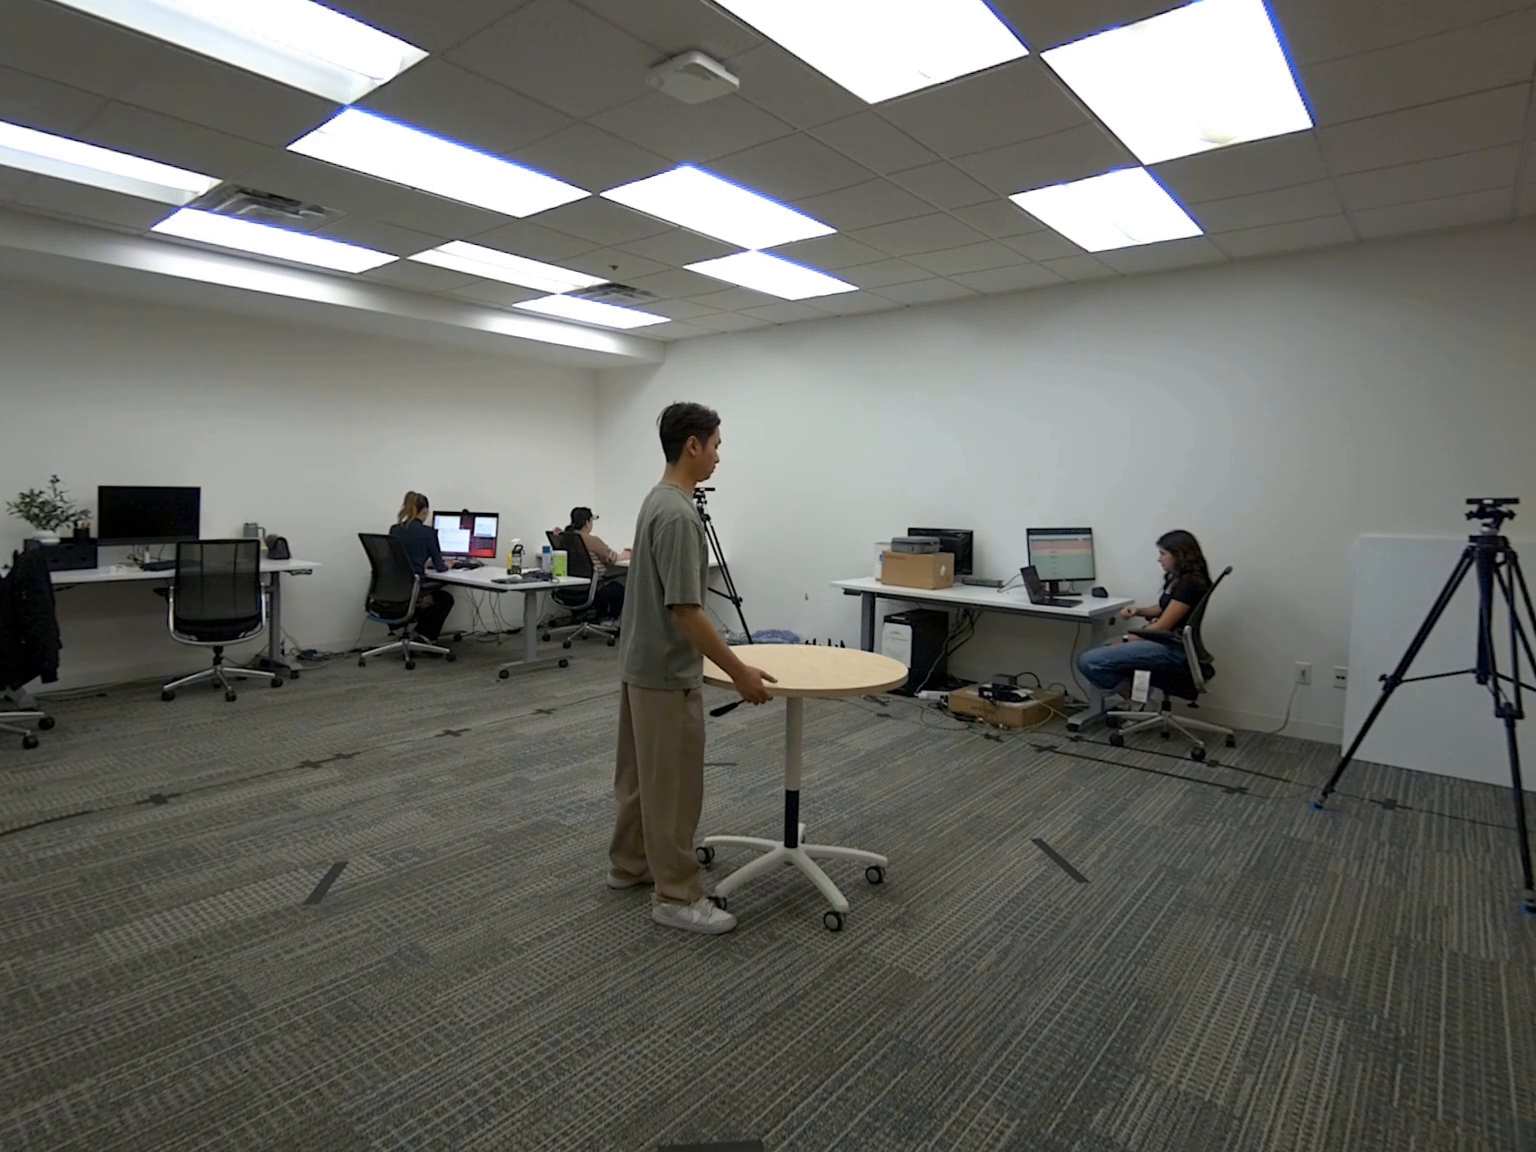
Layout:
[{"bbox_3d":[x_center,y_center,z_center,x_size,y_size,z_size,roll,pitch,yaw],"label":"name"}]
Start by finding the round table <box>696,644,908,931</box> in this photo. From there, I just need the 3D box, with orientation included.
[{"bbox_3d":[0.086,0.691,2.988,0.784,0.784,0.789,1,4,-2],"label":"round table"}]
